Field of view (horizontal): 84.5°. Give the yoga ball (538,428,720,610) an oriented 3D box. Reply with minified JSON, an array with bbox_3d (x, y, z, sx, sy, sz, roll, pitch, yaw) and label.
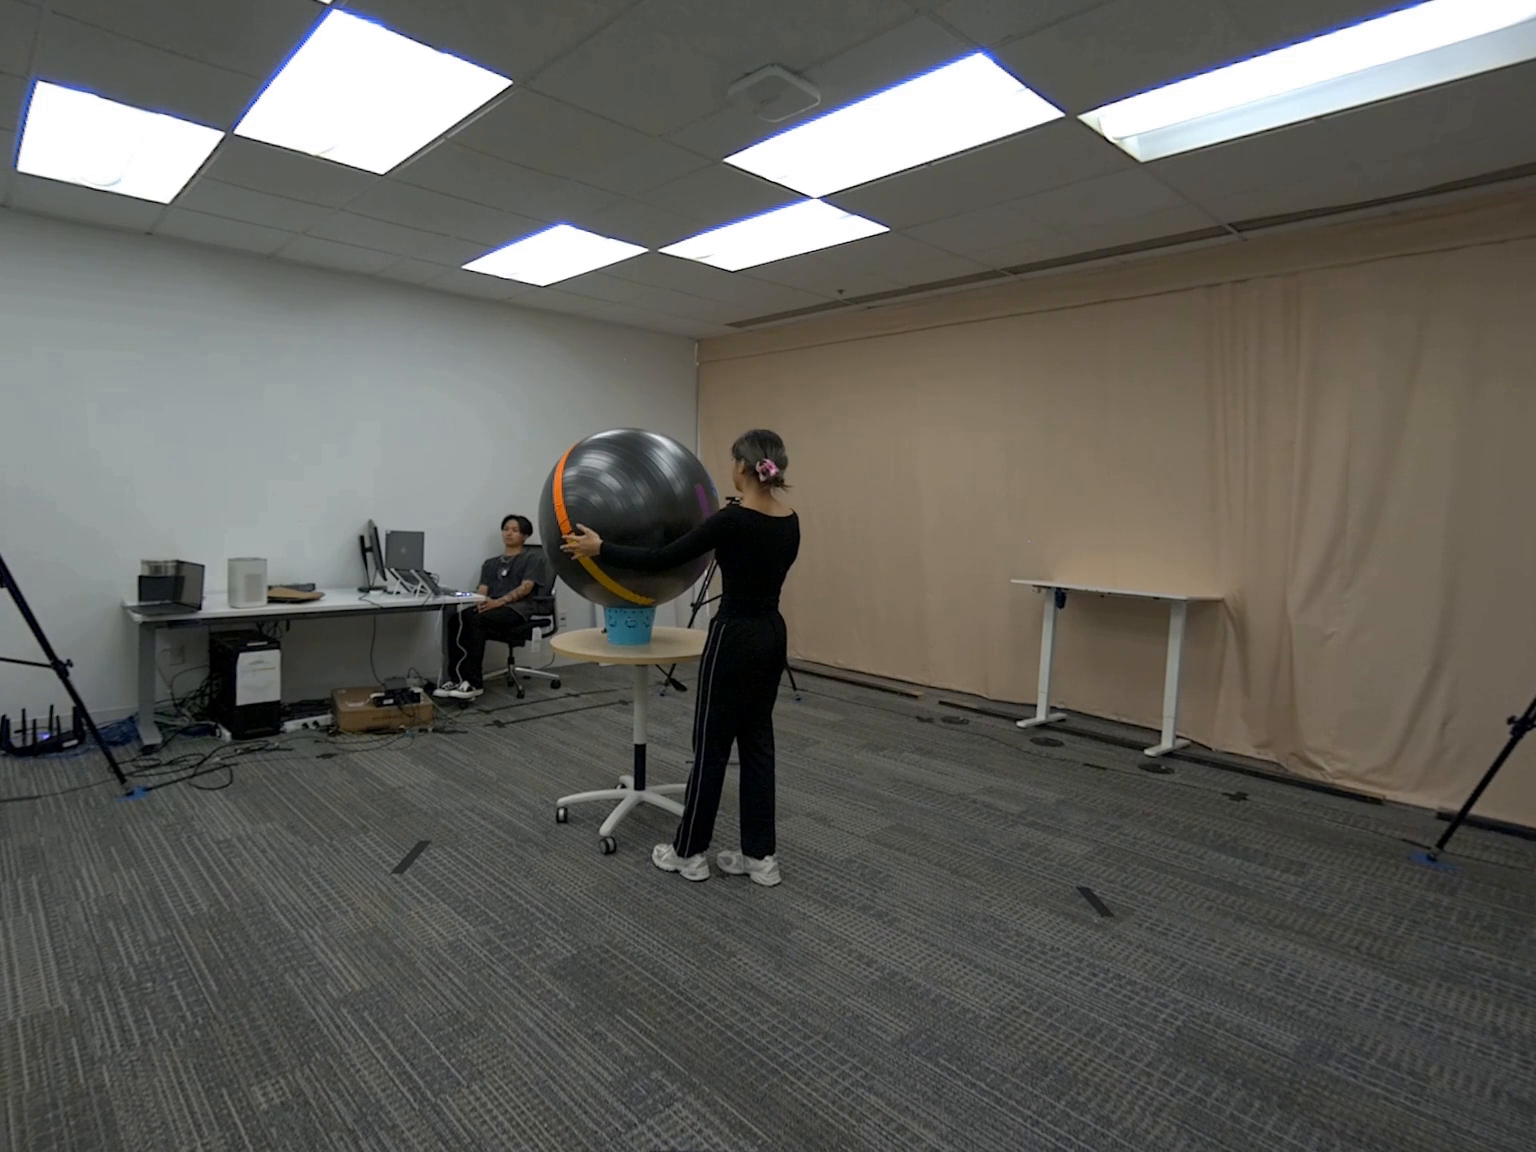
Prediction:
[{"bbox_3d":[-0.581,-0.233,3.530,0.757,0.756,0.761,1,4,-1],"label":"yoga ball"}]
